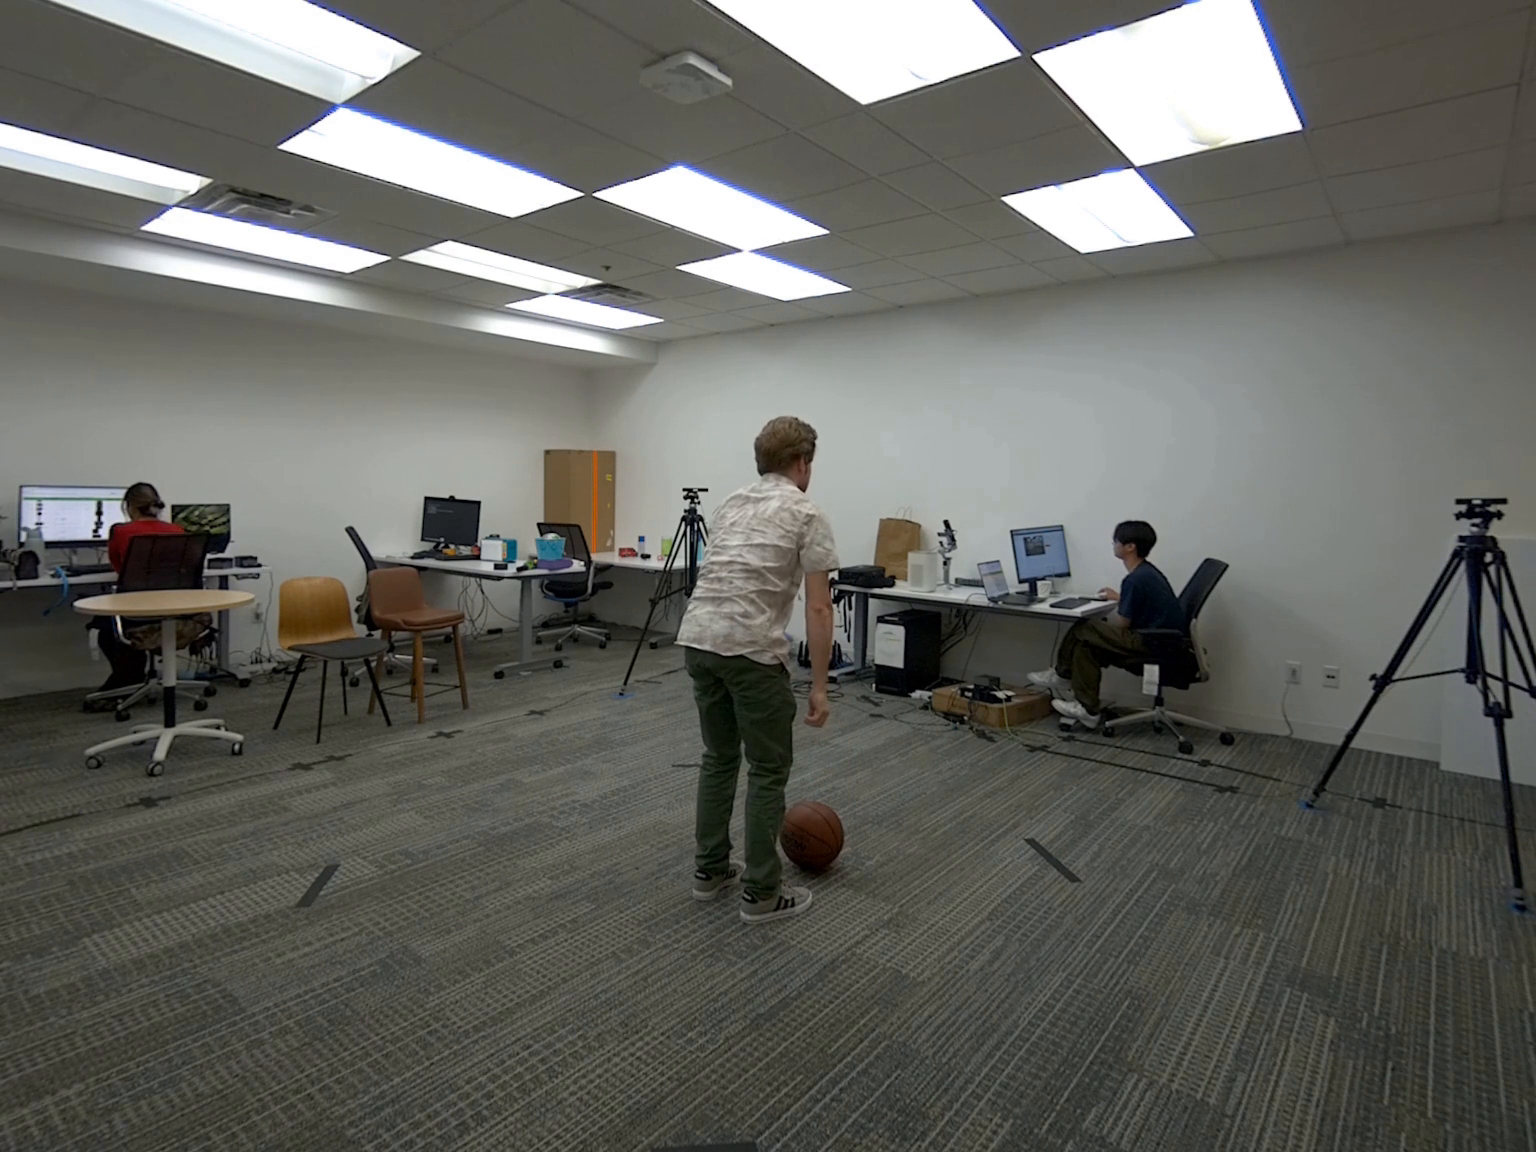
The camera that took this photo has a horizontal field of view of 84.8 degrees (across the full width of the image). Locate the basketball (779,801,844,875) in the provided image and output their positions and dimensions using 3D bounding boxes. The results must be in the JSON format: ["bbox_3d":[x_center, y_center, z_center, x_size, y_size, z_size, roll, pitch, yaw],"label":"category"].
[{"bbox_3d":[0.153,0.951,3.148,0.235,0.235,0.237,1,4,-2],"label":"basketball"}]
